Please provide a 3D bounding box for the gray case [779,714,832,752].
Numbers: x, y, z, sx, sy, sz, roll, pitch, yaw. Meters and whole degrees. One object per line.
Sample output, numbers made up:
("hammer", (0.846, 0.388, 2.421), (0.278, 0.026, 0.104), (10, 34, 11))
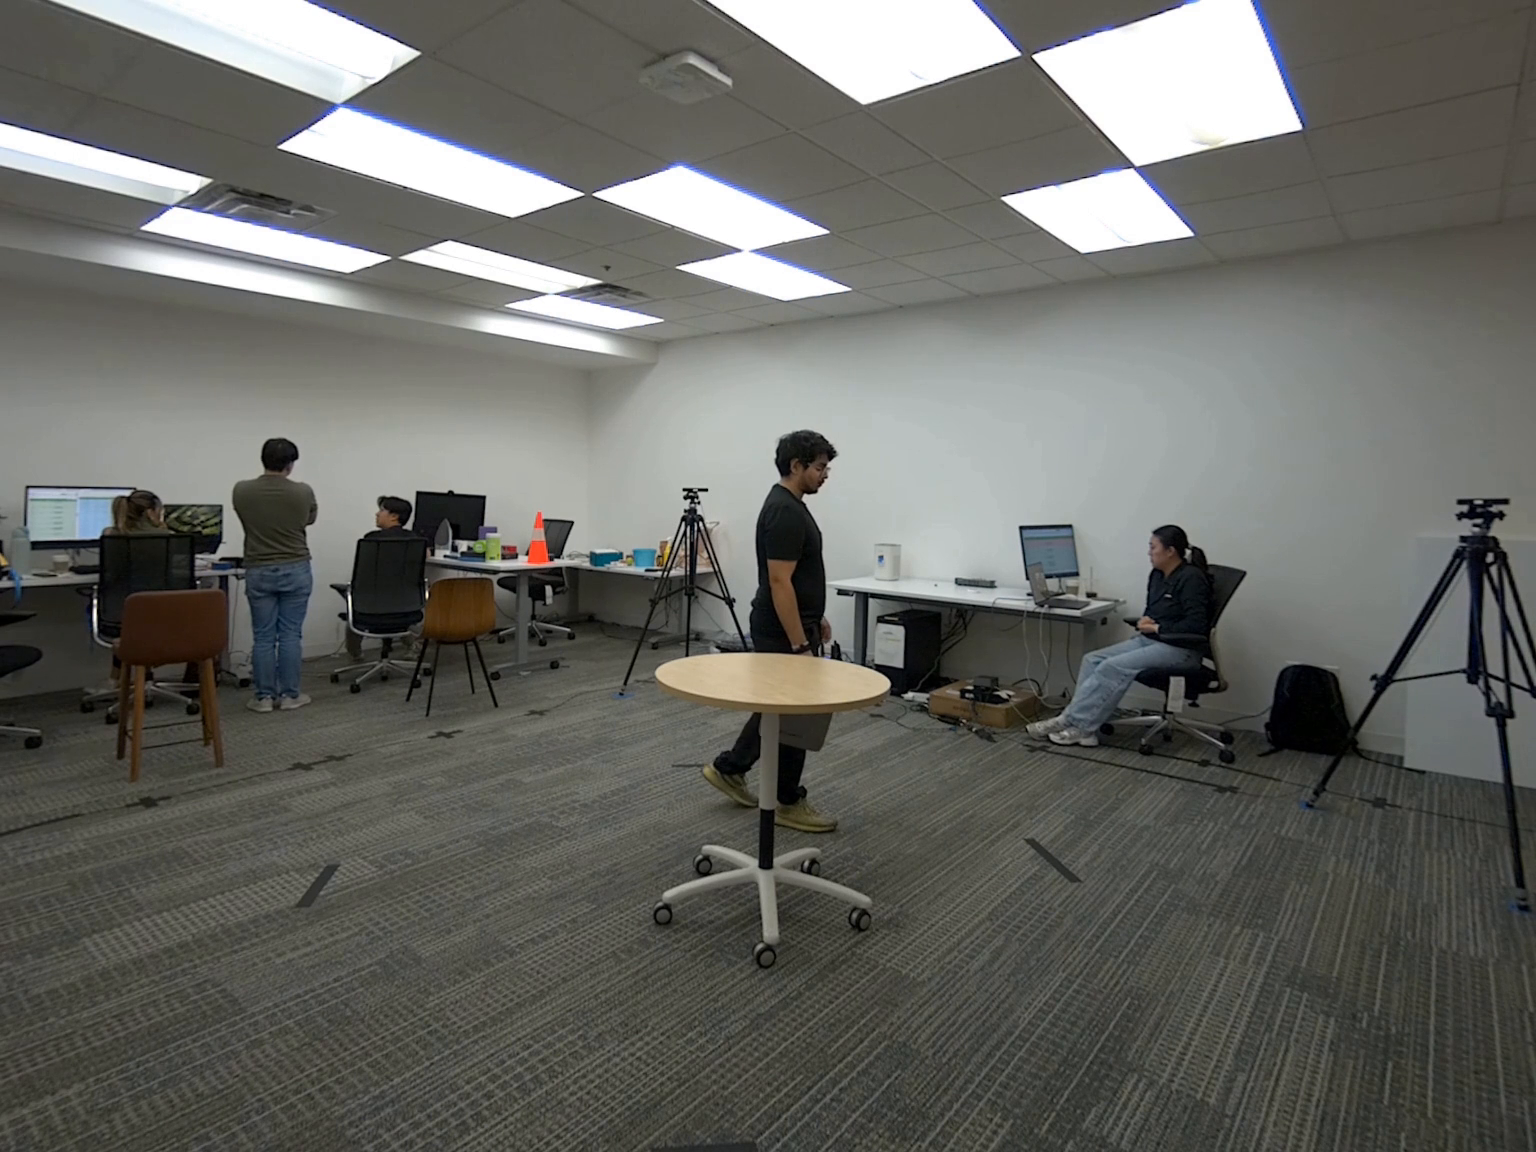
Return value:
("gray case", (0.106, 0.517, 3.289), (0.256, 0.259, 0.105), (16, 11, -2))
